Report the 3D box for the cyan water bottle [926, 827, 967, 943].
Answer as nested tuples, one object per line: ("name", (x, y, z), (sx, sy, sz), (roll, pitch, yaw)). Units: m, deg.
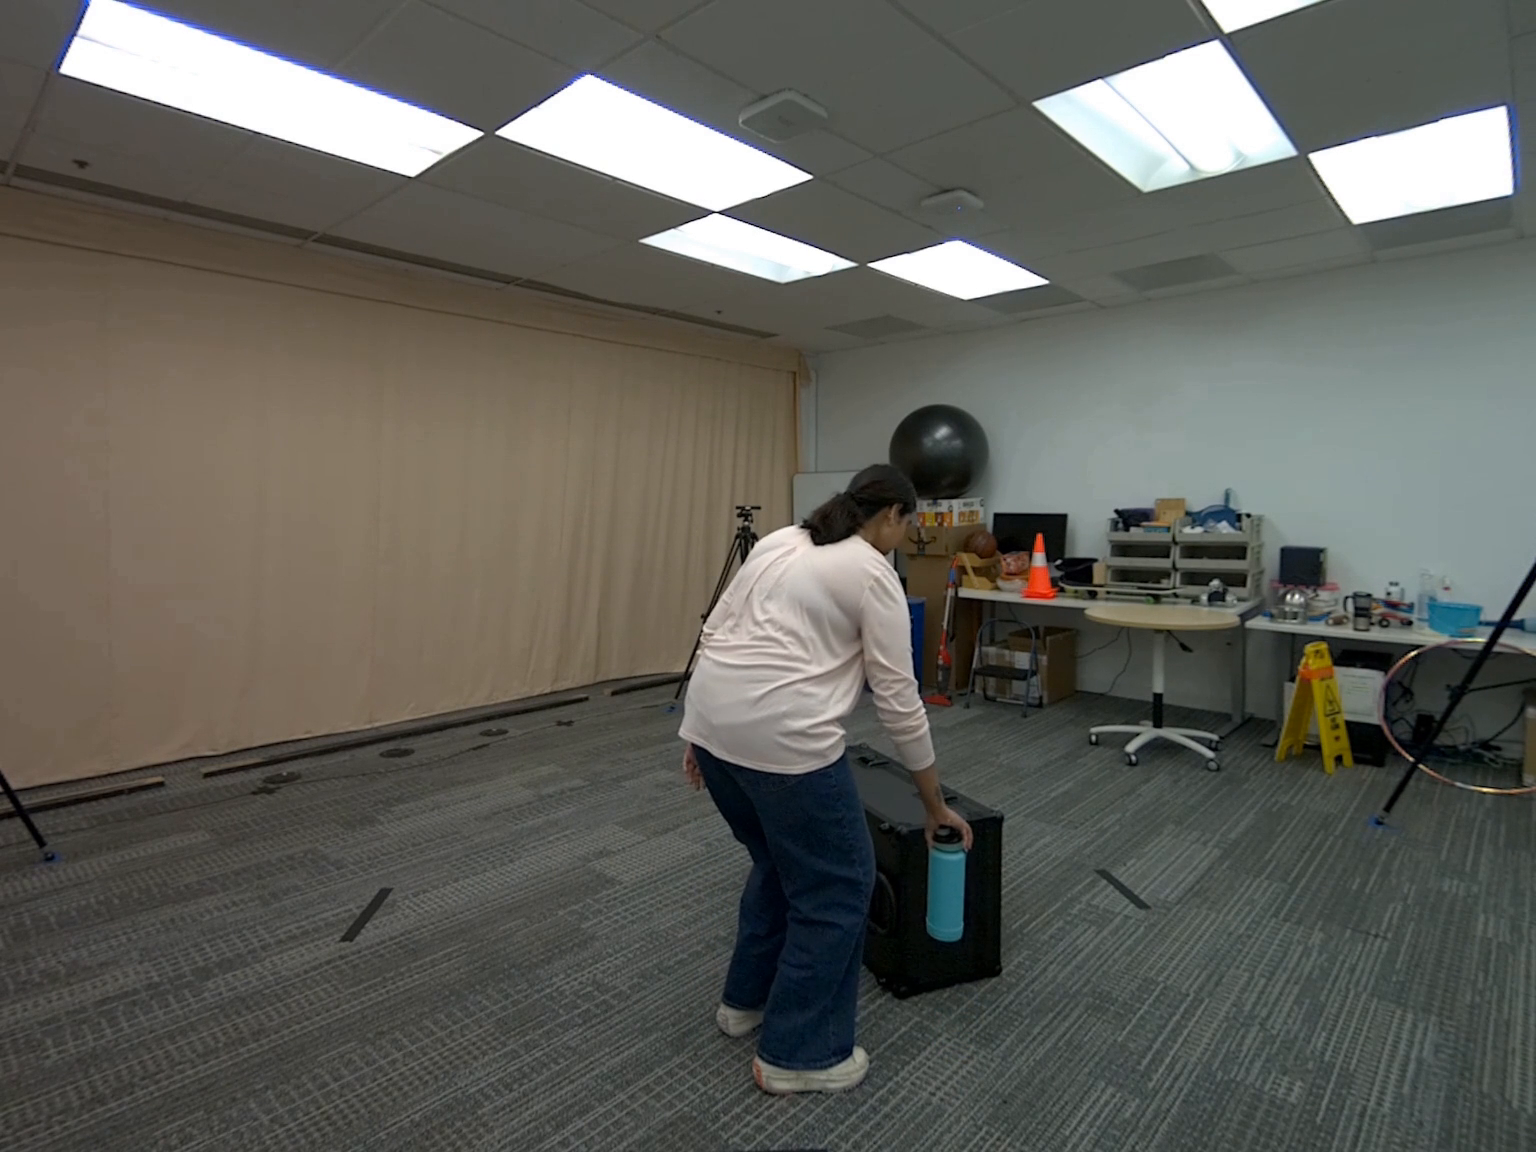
("cyan water bottle", (0.457, 0.773, 2.125), (0.092, 0.282, 0.093), (1, 6, -2))
